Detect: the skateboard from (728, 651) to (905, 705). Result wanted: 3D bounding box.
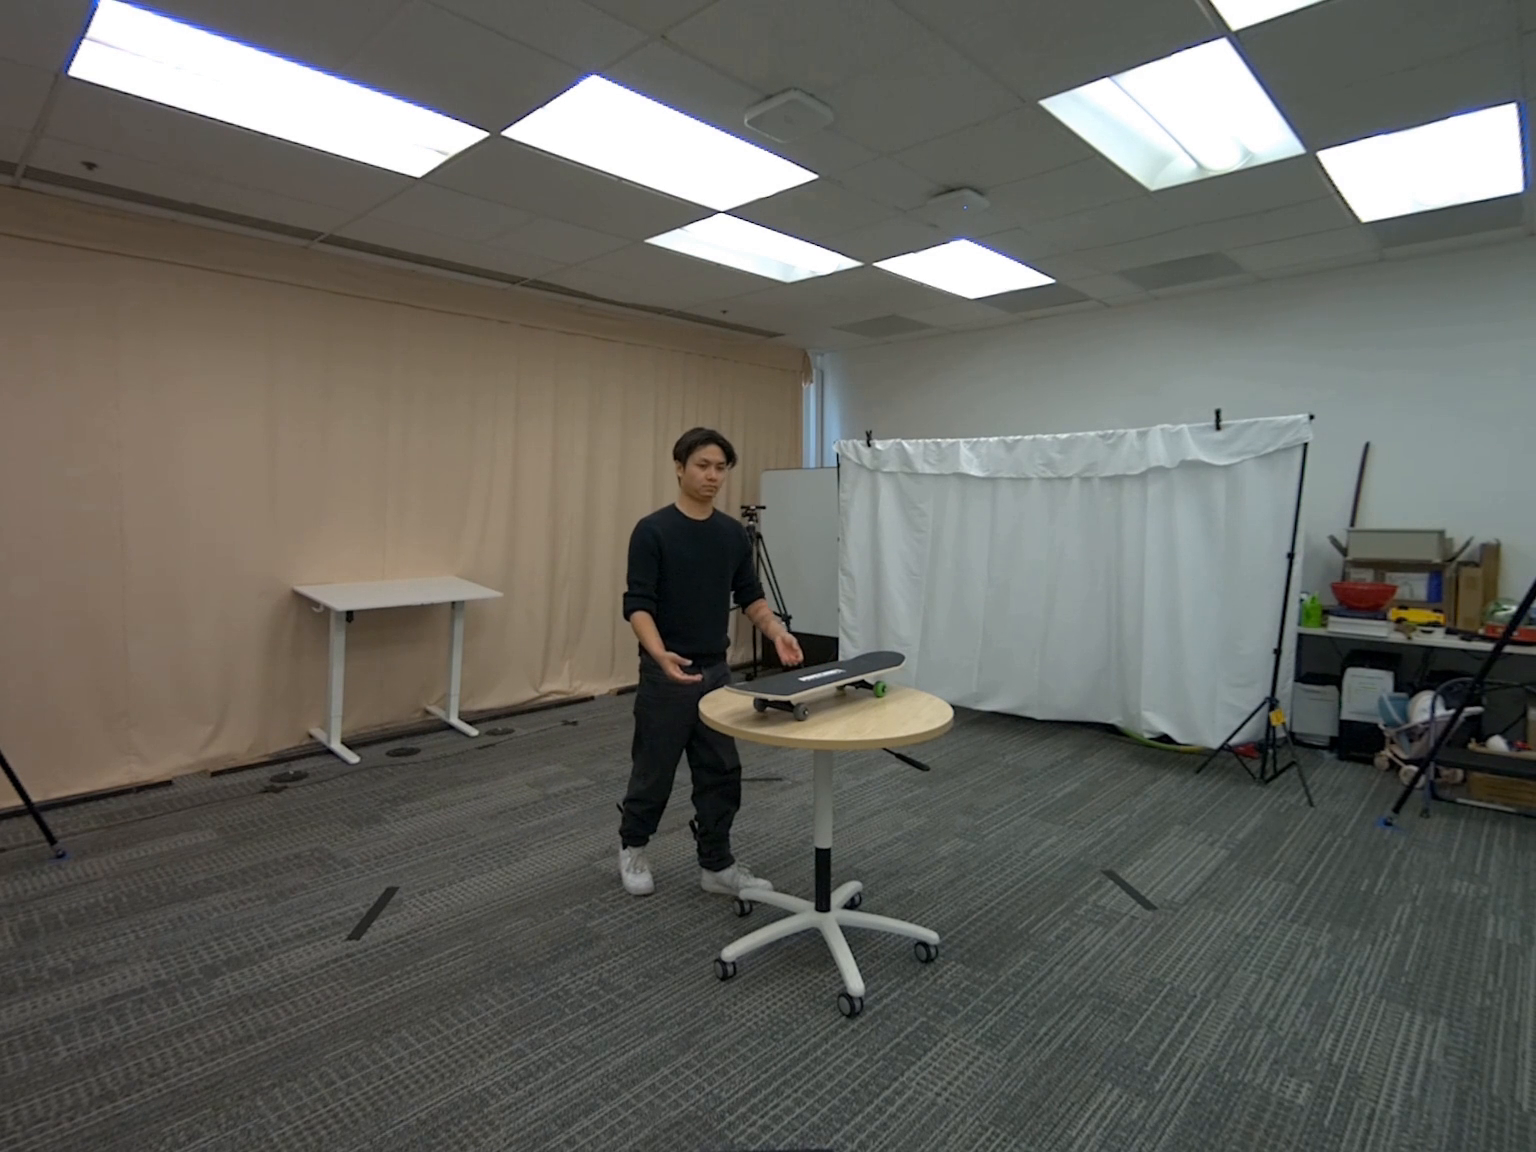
[{"bbox_3d":[0.151,0.342,2.576,0.200,0.110,0.762,5,7,42],"label":"skateboard"}]
